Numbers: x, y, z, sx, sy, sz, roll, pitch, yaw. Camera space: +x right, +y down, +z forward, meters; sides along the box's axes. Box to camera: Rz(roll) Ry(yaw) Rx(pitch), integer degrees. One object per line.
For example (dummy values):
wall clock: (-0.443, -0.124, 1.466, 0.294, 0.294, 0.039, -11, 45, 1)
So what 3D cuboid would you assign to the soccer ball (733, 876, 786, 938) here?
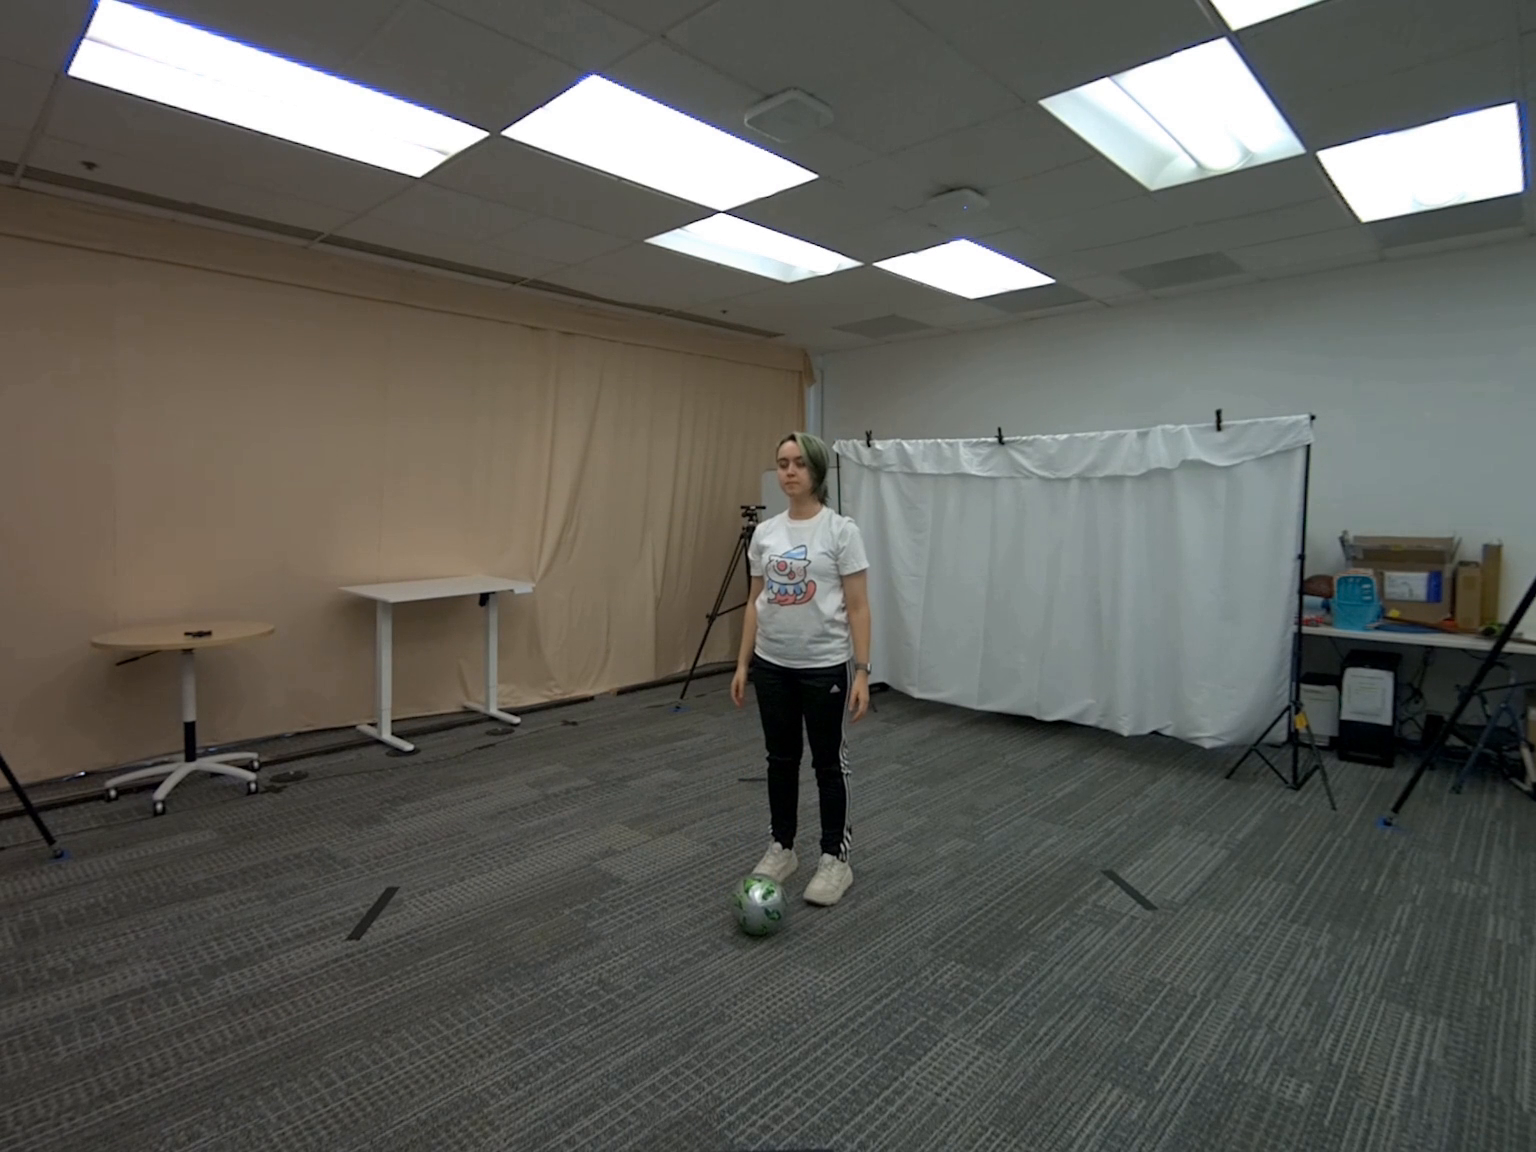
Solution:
soccer ball: (-0.027, 1.072, 2.744, 0.187, 0.187, 0.188, 0, 4, -2)
